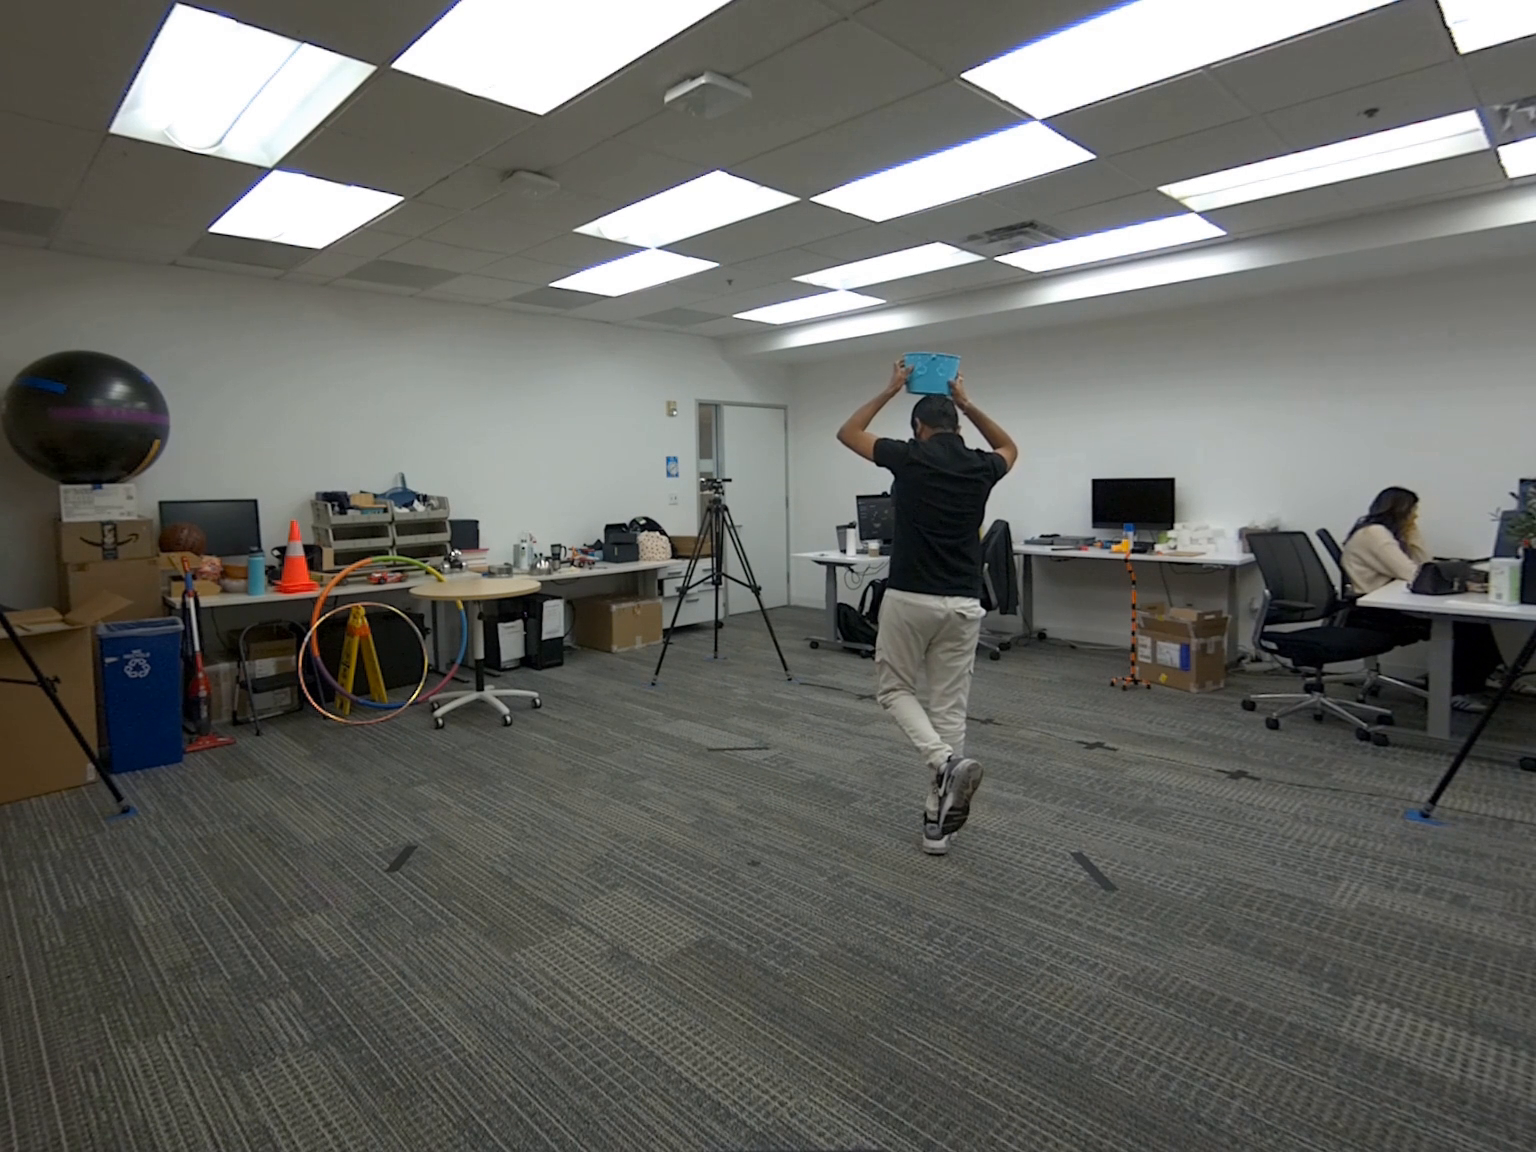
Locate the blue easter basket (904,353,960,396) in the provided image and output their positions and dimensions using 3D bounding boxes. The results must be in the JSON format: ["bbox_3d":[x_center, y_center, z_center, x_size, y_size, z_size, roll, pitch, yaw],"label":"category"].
[{"bbox_3d":[0.666,-0.825,3.492,0.243,0.155,0.245,4,6,-2],"label":"blue easter basket"}]
